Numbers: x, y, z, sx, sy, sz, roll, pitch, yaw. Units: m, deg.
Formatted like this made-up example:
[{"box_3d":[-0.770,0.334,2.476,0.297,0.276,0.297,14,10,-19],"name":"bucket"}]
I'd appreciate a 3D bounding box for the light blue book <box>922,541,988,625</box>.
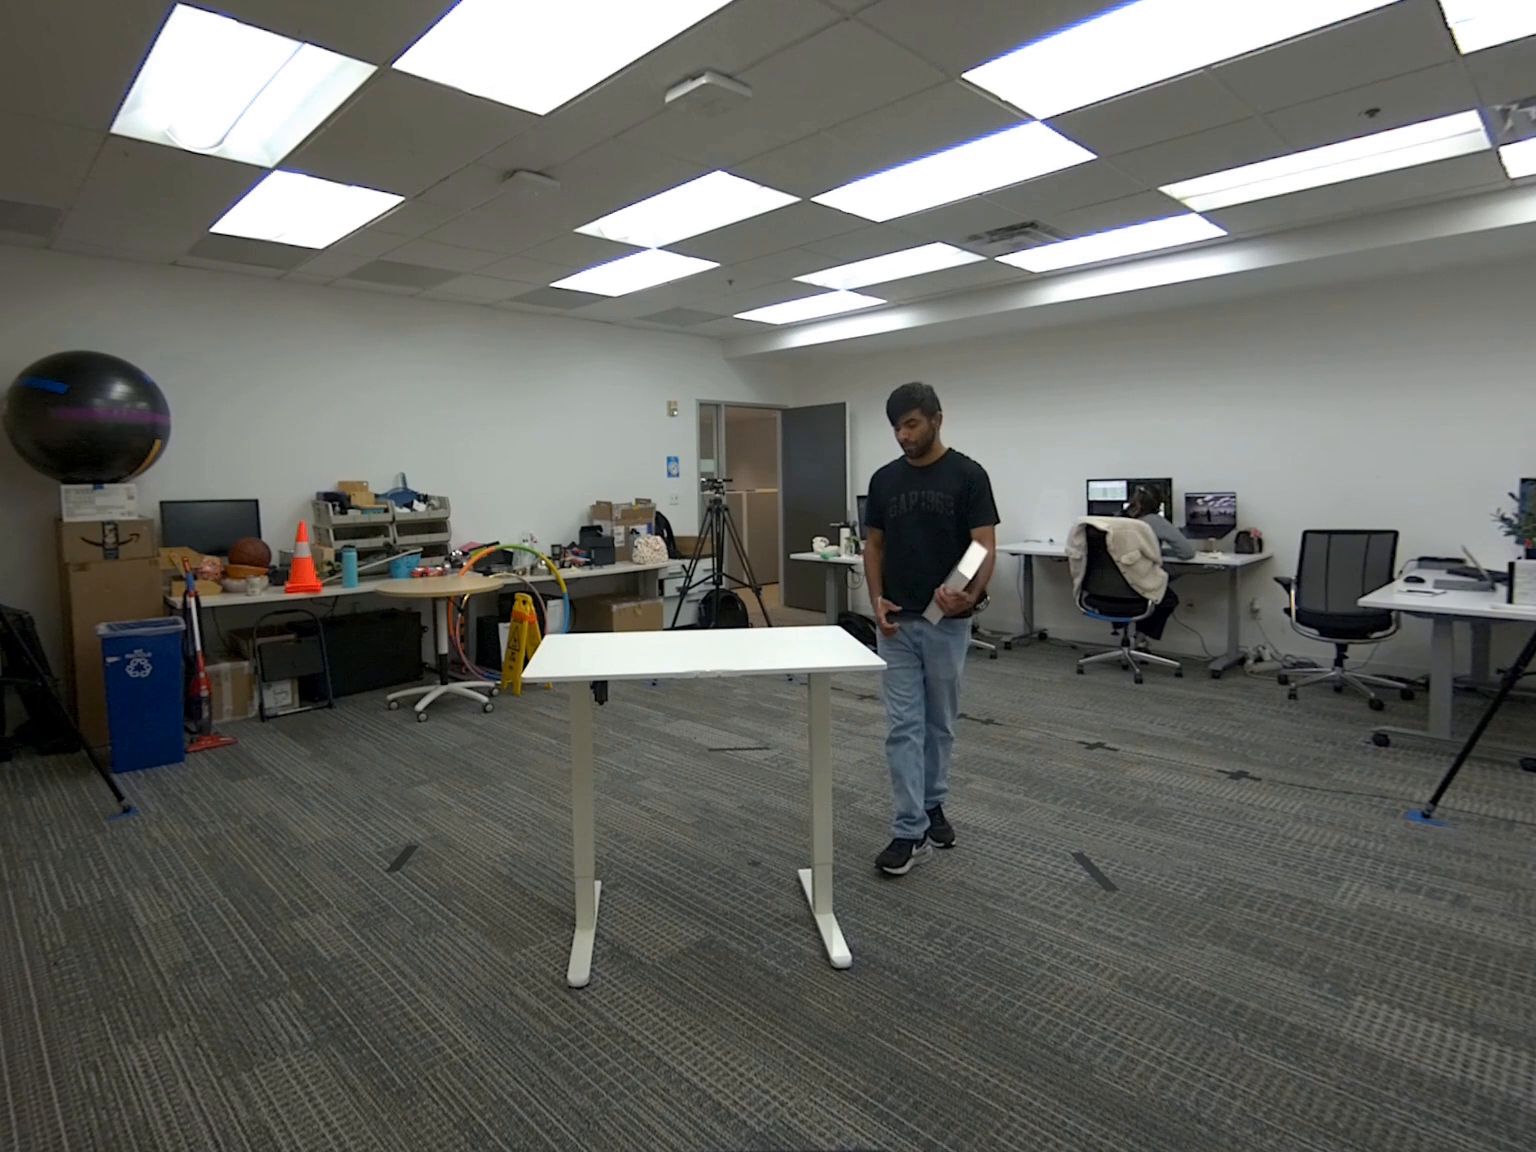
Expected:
[{"box_3d":[0.638,0.027,2.943,0.059,0.257,0.192,31,45,6],"name":"light blue book"}]
